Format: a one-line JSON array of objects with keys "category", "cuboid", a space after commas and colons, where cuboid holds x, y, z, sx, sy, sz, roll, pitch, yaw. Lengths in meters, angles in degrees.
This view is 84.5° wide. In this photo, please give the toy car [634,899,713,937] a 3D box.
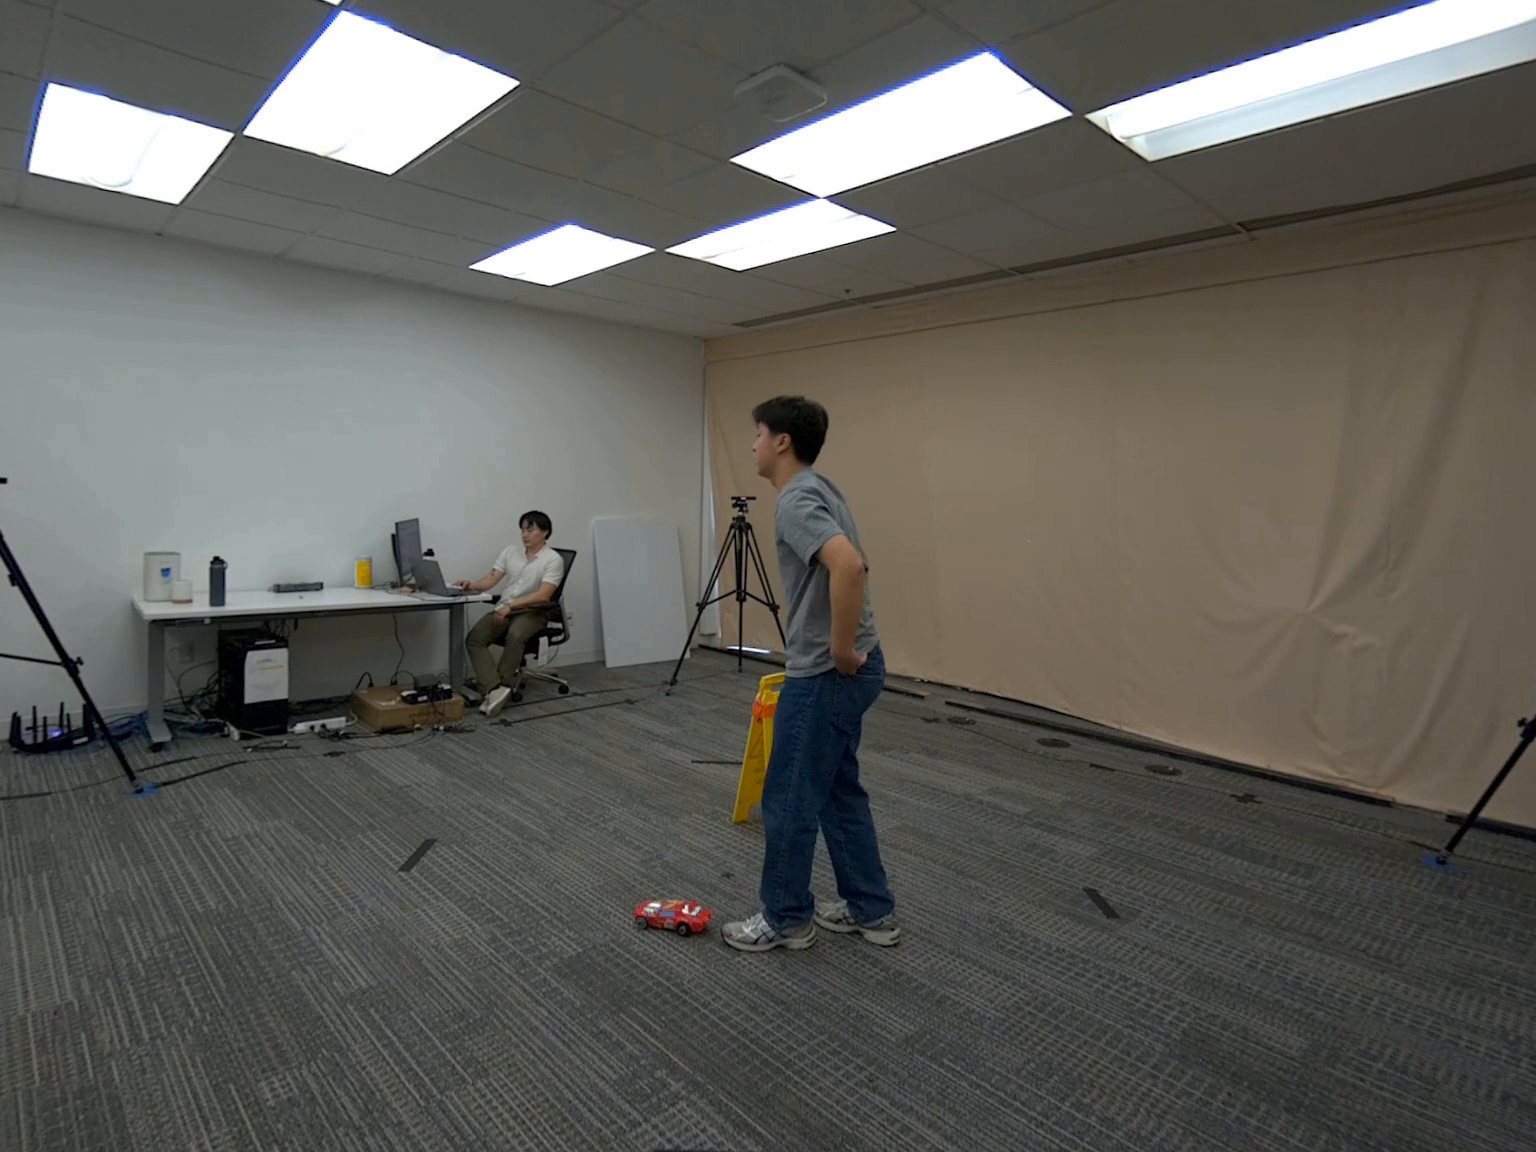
[{"category": "toy car", "cuboid": [-0.302, 1.098, 2.728, 0.257, 0.083, 0.129, -10, 2, 17]}]
